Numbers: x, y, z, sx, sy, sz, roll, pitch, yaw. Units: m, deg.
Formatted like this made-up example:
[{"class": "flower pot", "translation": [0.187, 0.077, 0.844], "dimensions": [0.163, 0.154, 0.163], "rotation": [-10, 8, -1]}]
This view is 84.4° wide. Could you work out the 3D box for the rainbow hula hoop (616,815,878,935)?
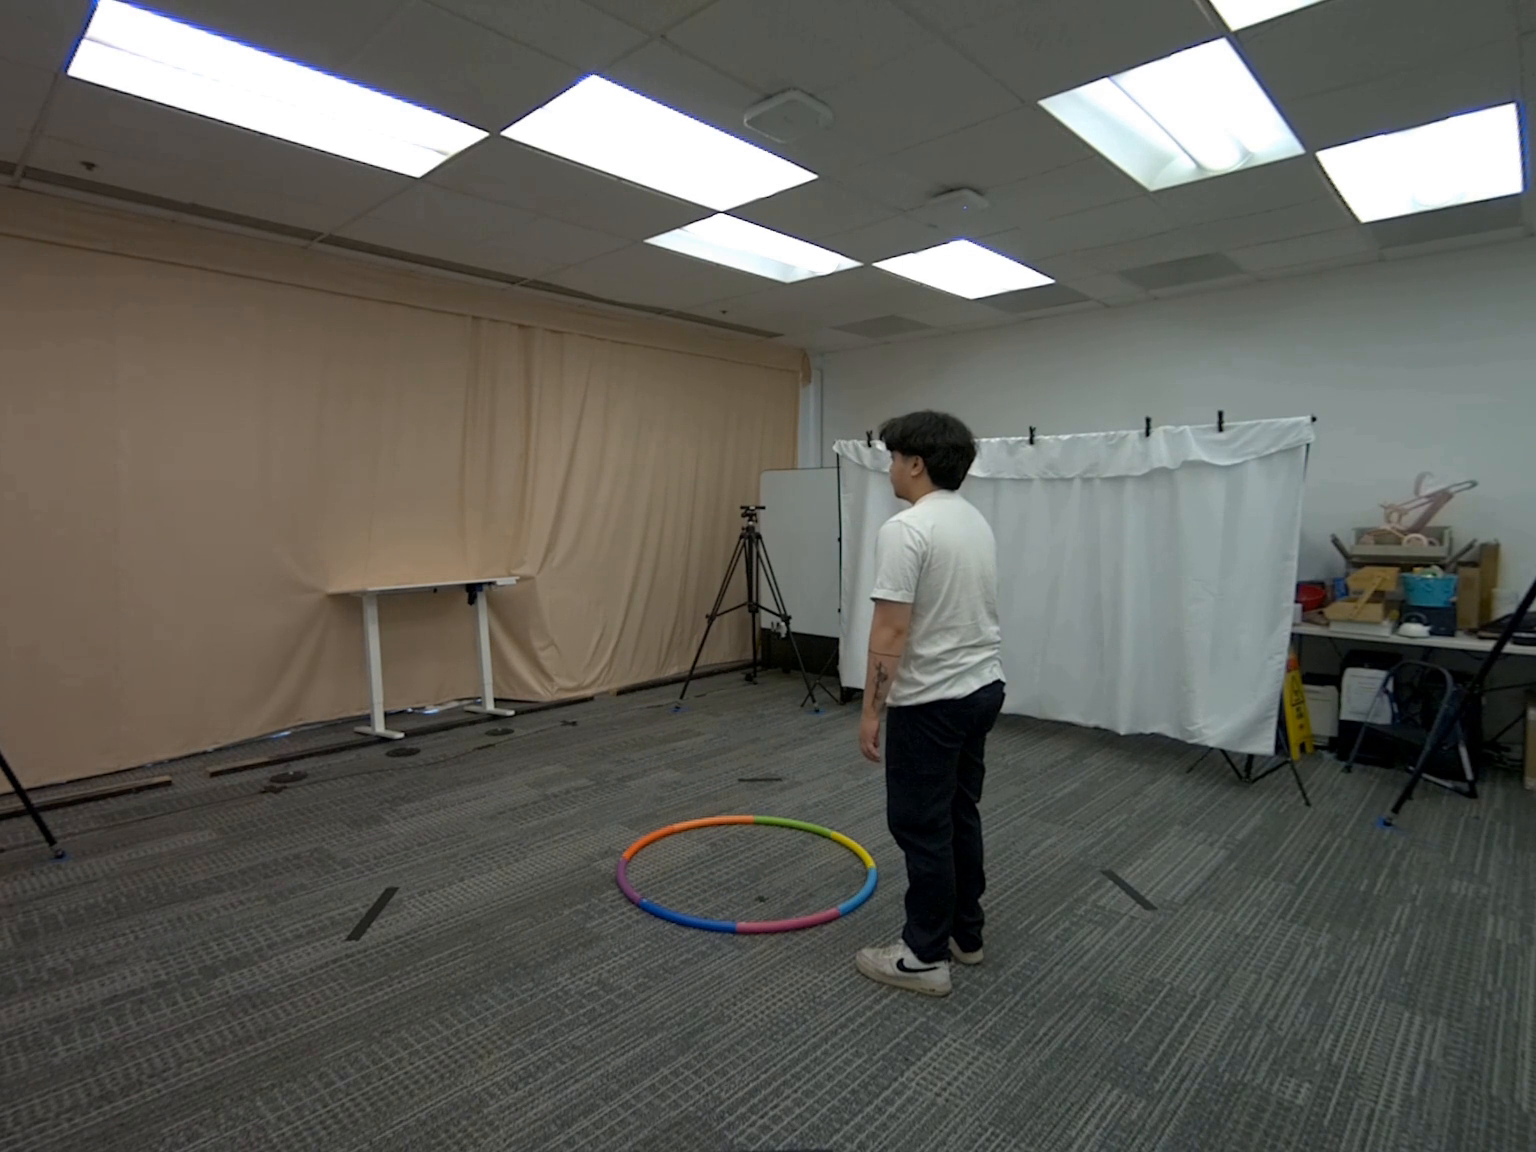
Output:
[{"class": "rainbow hula hoop", "translation": [-0.083, 1.097, 3.222], "dimensions": [0.985, 0.051, 0.989], "rotation": [0, 5, -2]}]
